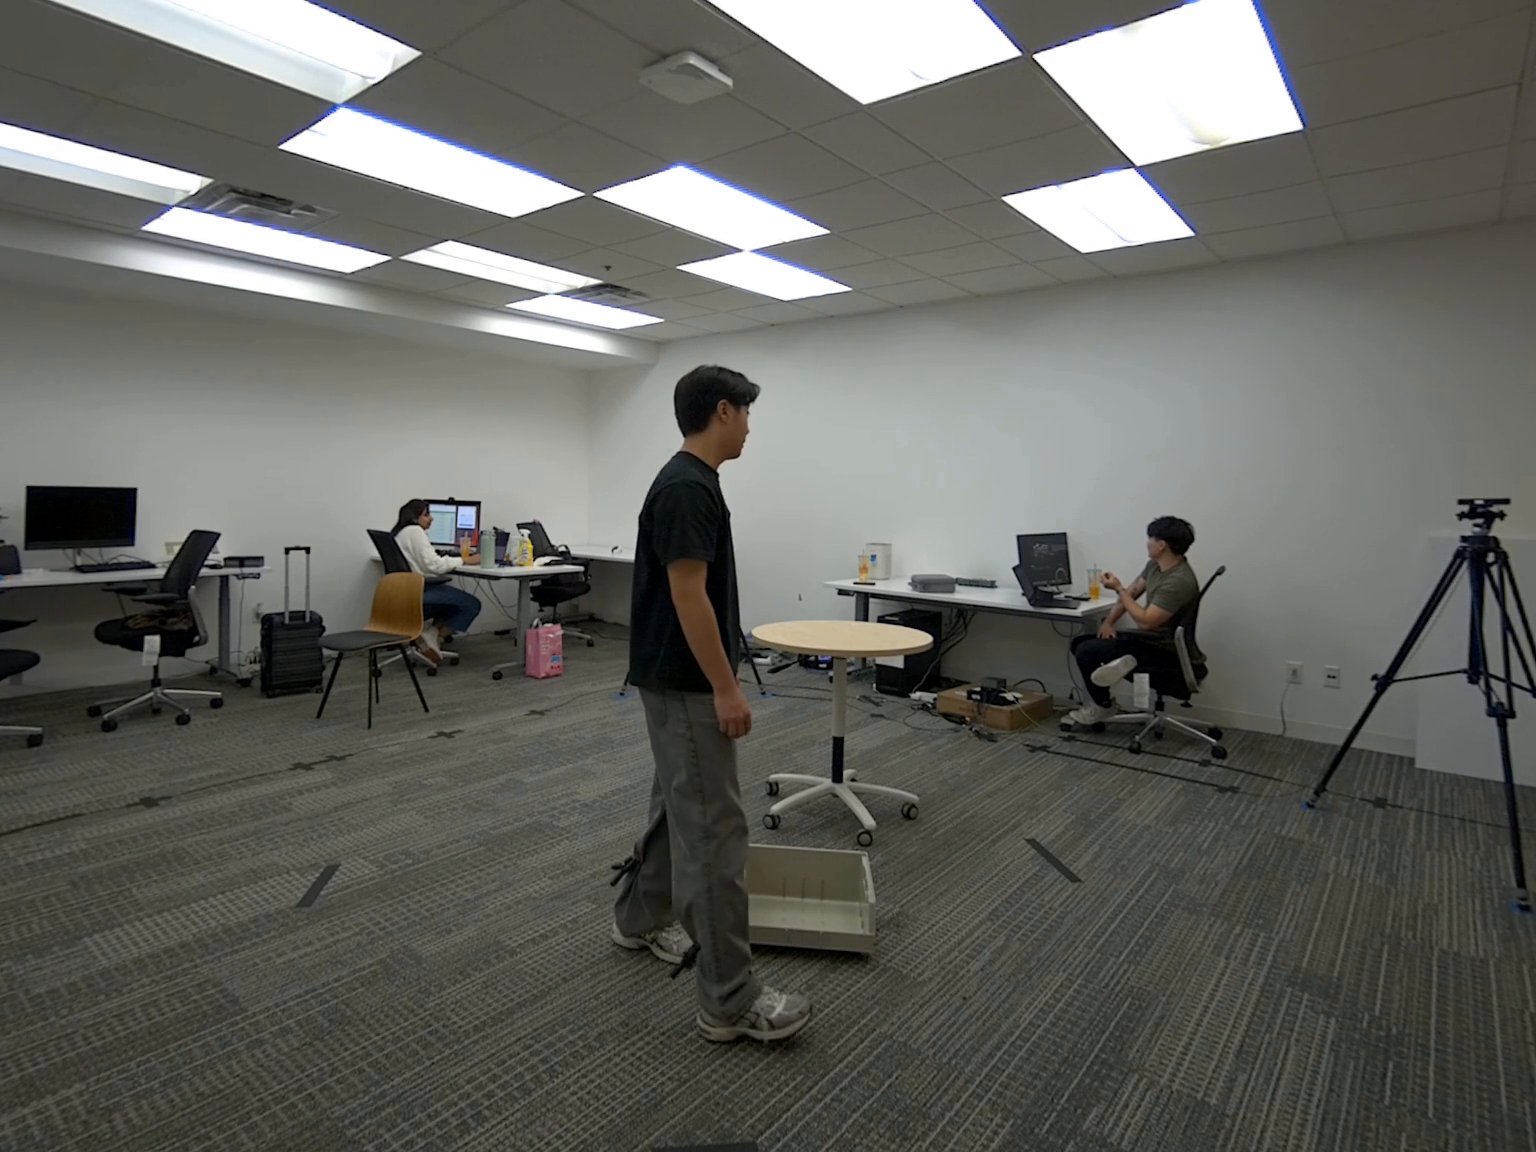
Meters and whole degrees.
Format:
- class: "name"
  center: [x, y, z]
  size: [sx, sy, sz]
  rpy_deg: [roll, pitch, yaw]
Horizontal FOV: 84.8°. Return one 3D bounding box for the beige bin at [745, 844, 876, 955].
- class: "beige bin"
  center: [0.111, 1.030, 2.702]
  size: [0.424, 0.188, 0.377]
  rpy_deg: [1, 4, 3]
